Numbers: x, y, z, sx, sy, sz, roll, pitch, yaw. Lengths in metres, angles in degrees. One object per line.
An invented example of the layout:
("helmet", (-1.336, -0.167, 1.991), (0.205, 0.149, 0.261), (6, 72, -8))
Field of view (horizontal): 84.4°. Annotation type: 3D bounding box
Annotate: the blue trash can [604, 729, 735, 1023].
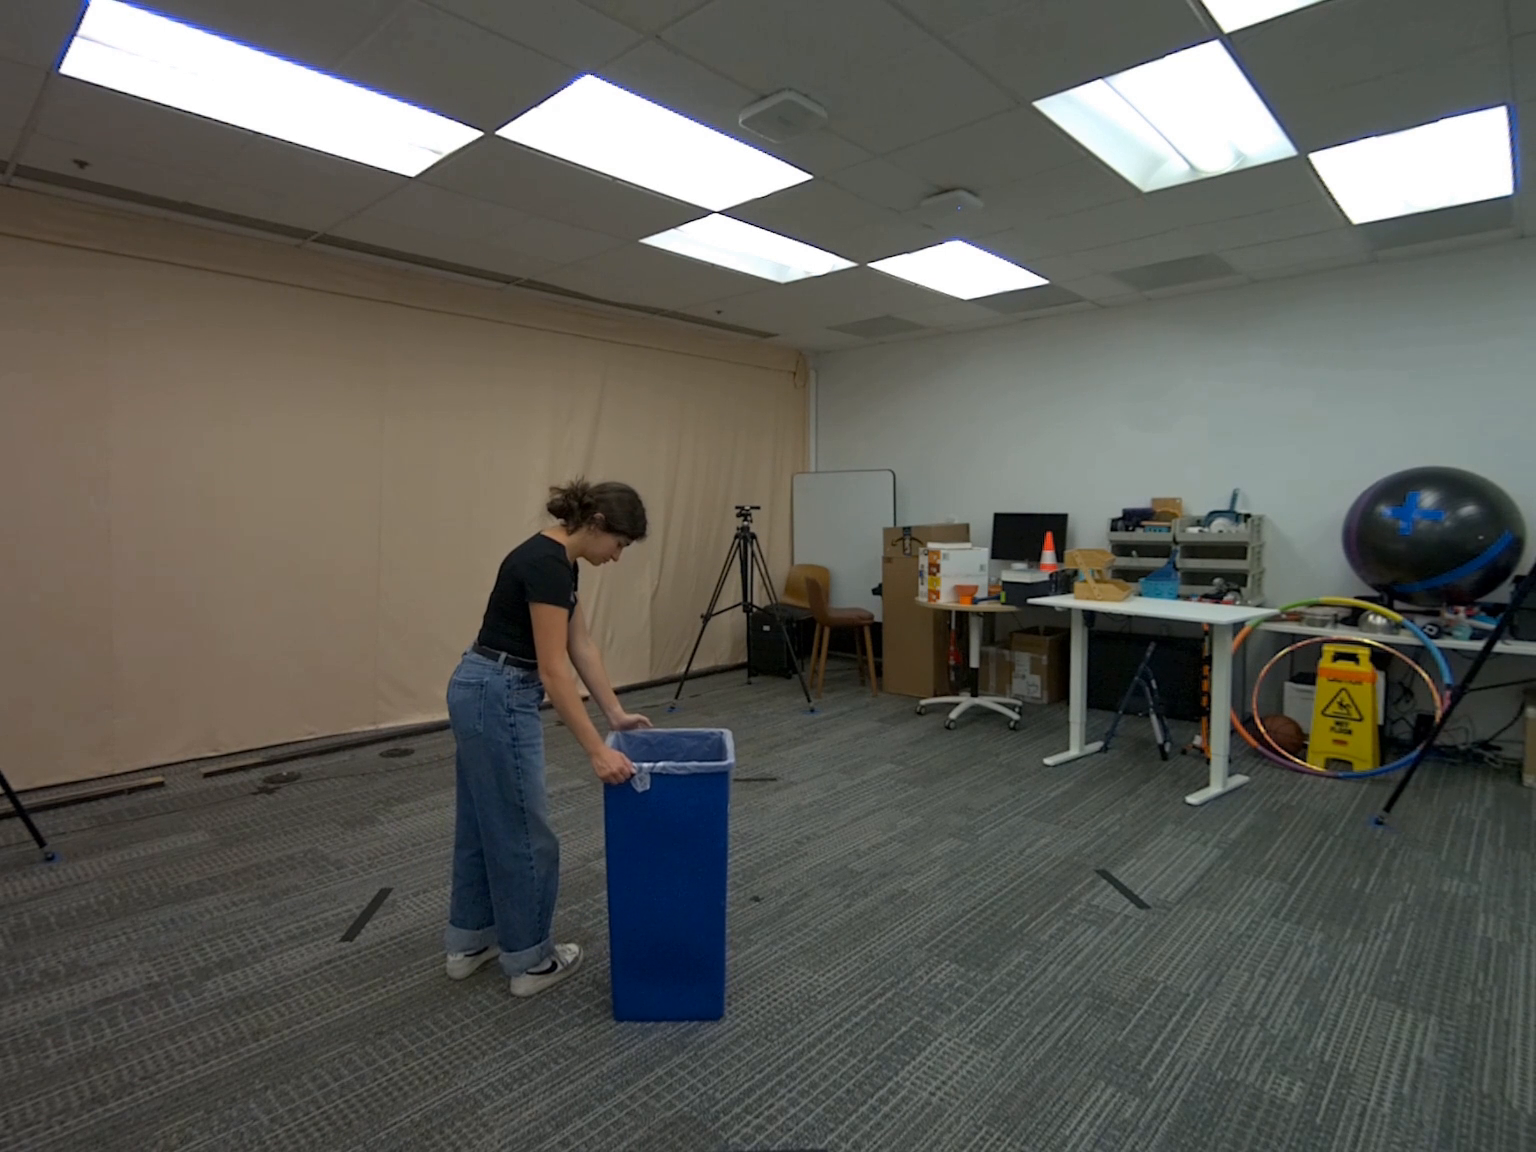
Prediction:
("blue trash can", (-0.285, 0.840, 2.405), (0.377, 0.712, 0.376), (0, 4, -3))
